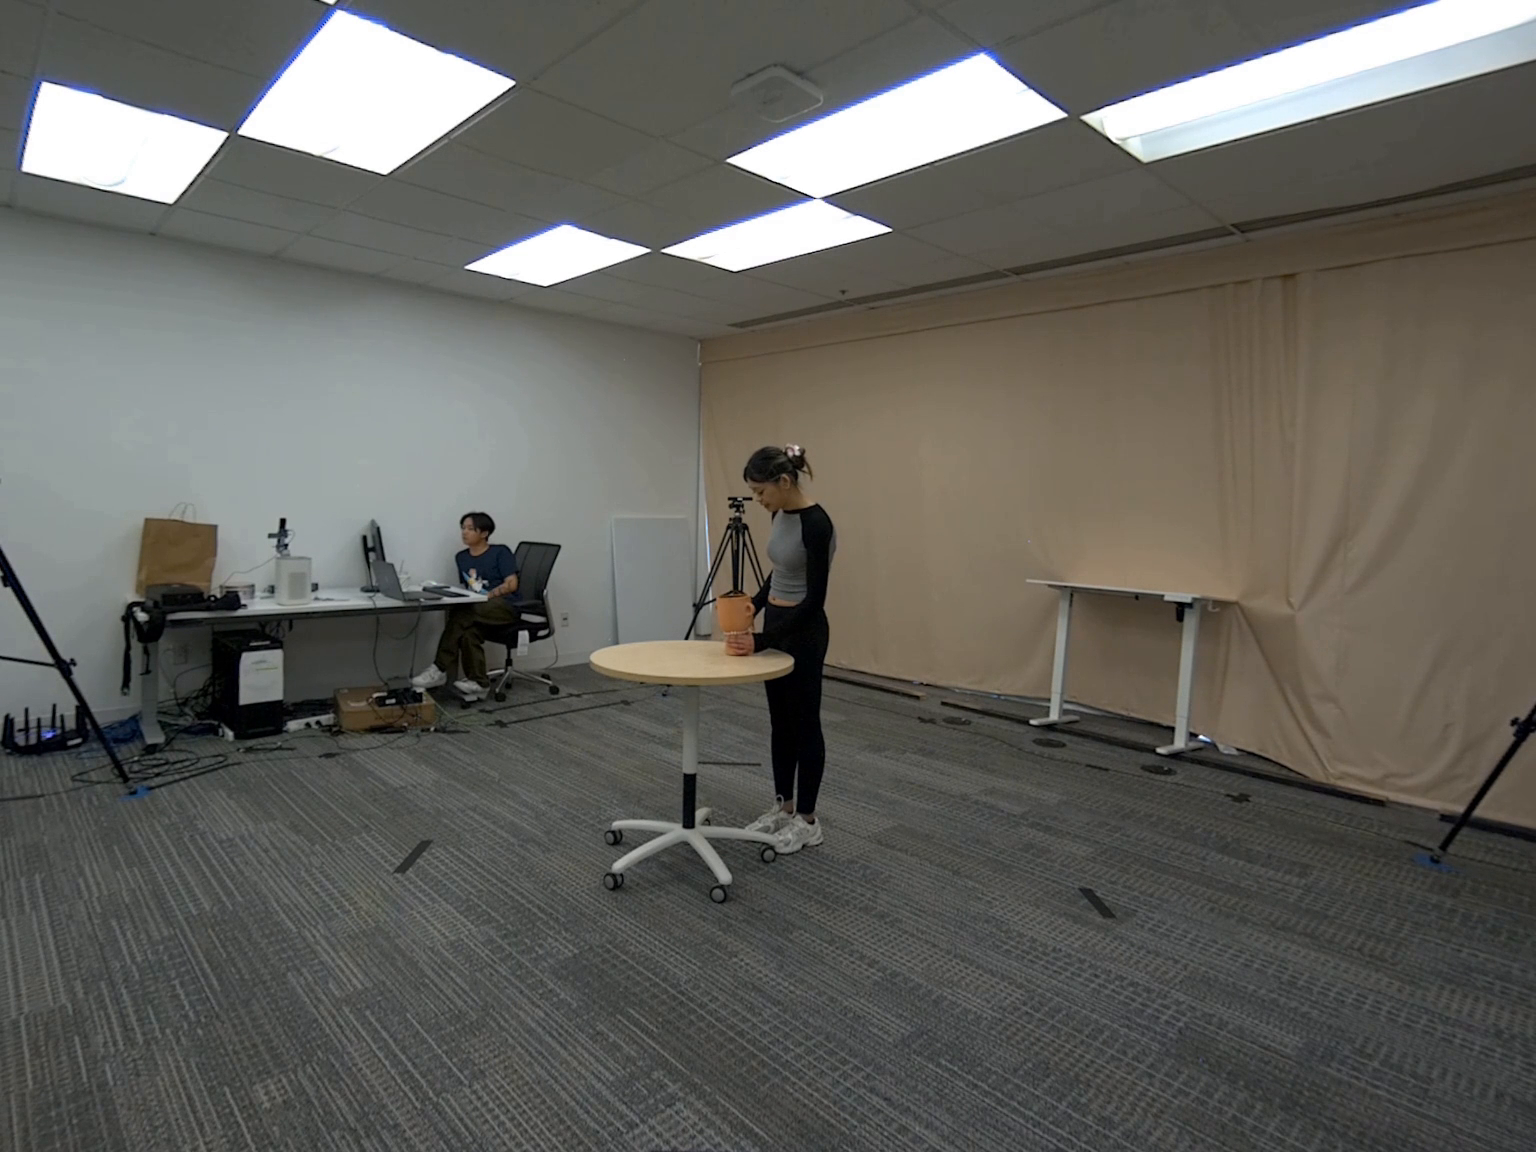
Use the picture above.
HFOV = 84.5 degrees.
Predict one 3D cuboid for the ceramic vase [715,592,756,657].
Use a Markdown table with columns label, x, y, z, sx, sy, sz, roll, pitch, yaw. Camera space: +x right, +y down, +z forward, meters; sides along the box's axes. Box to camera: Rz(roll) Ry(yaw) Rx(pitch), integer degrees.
| label | x | y | z | sx | sy | sz | roll | pitch | yaw |
| --- | --- | --- | --- | --- | --- | --- | --- | --- | --- |
| ceramic vase | -0.124 | 0.188 | 3.246 | 0.133 | 0.220 | 0.160 | -4 | 1 | -11 |
